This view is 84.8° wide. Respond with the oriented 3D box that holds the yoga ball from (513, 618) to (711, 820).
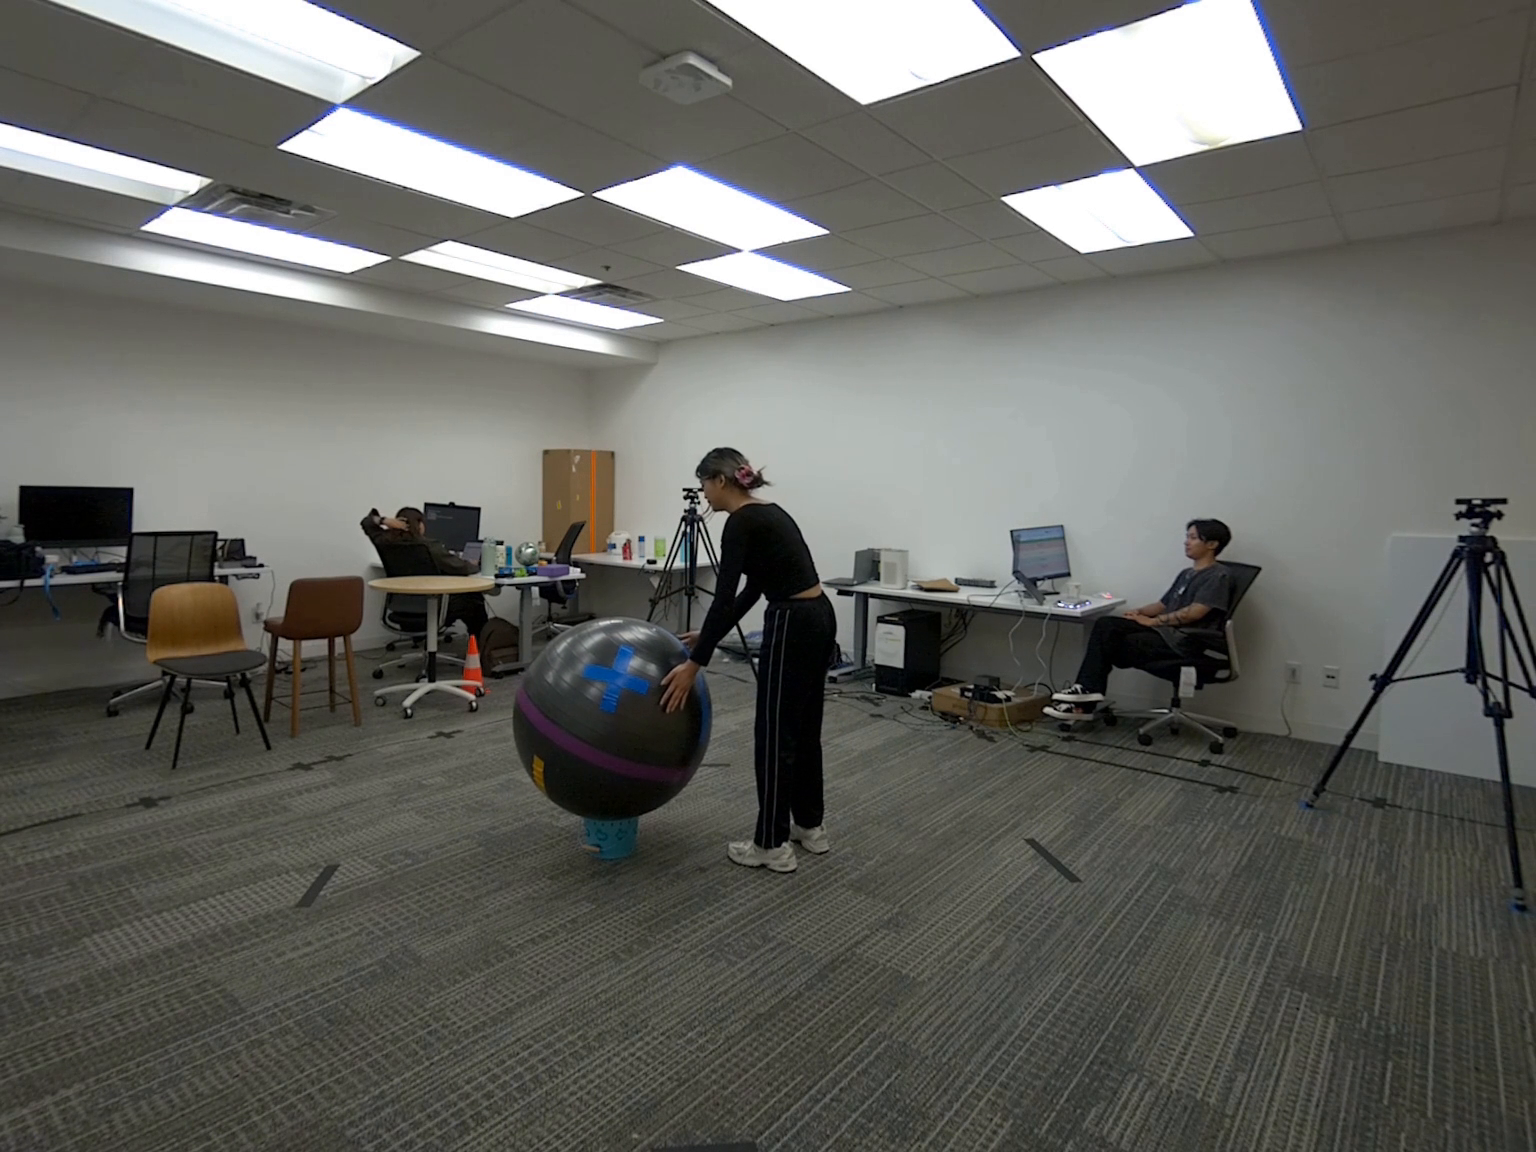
[{"bbox_3d":[-0.598,0.534,3.254,0.757,0.755,0.762,1,4,-2],"label":"yoga ball"}]
